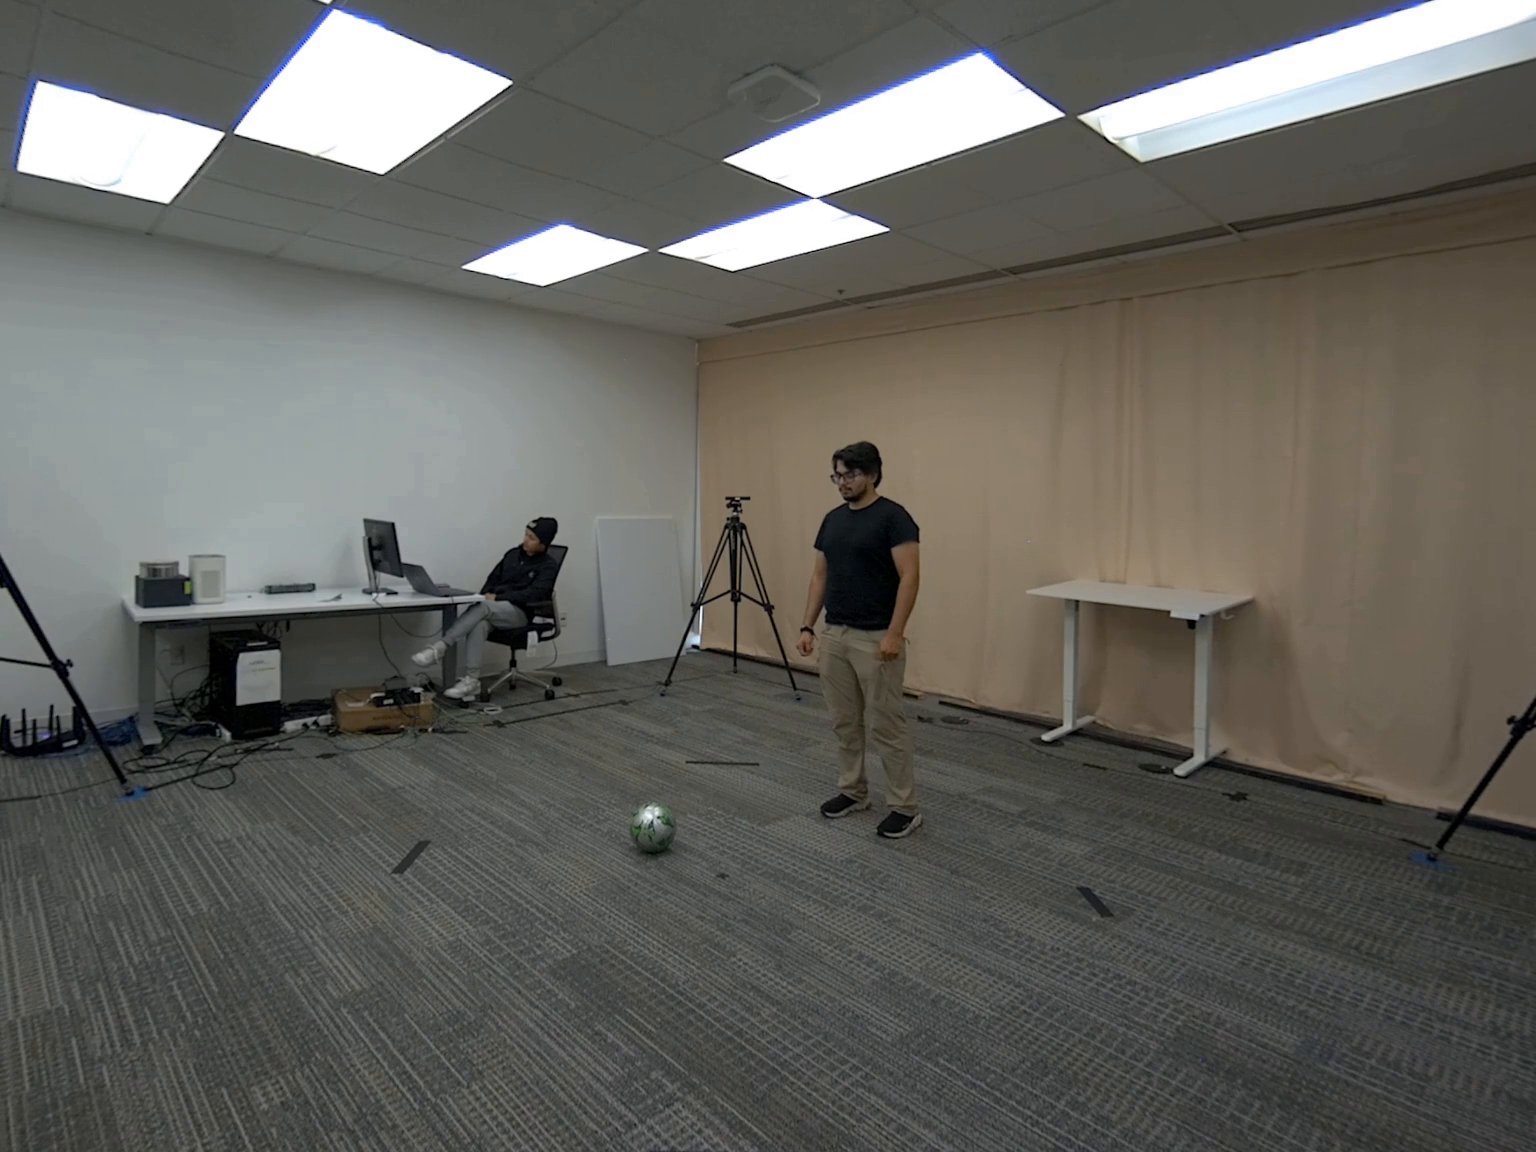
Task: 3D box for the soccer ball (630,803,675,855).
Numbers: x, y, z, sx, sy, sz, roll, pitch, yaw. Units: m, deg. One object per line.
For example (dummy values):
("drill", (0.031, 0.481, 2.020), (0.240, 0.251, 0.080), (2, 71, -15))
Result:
("soccer ball", (-0.458, 0.985, 3.310), (0.187, 0.187, 0.188), (1, 4, -1))
